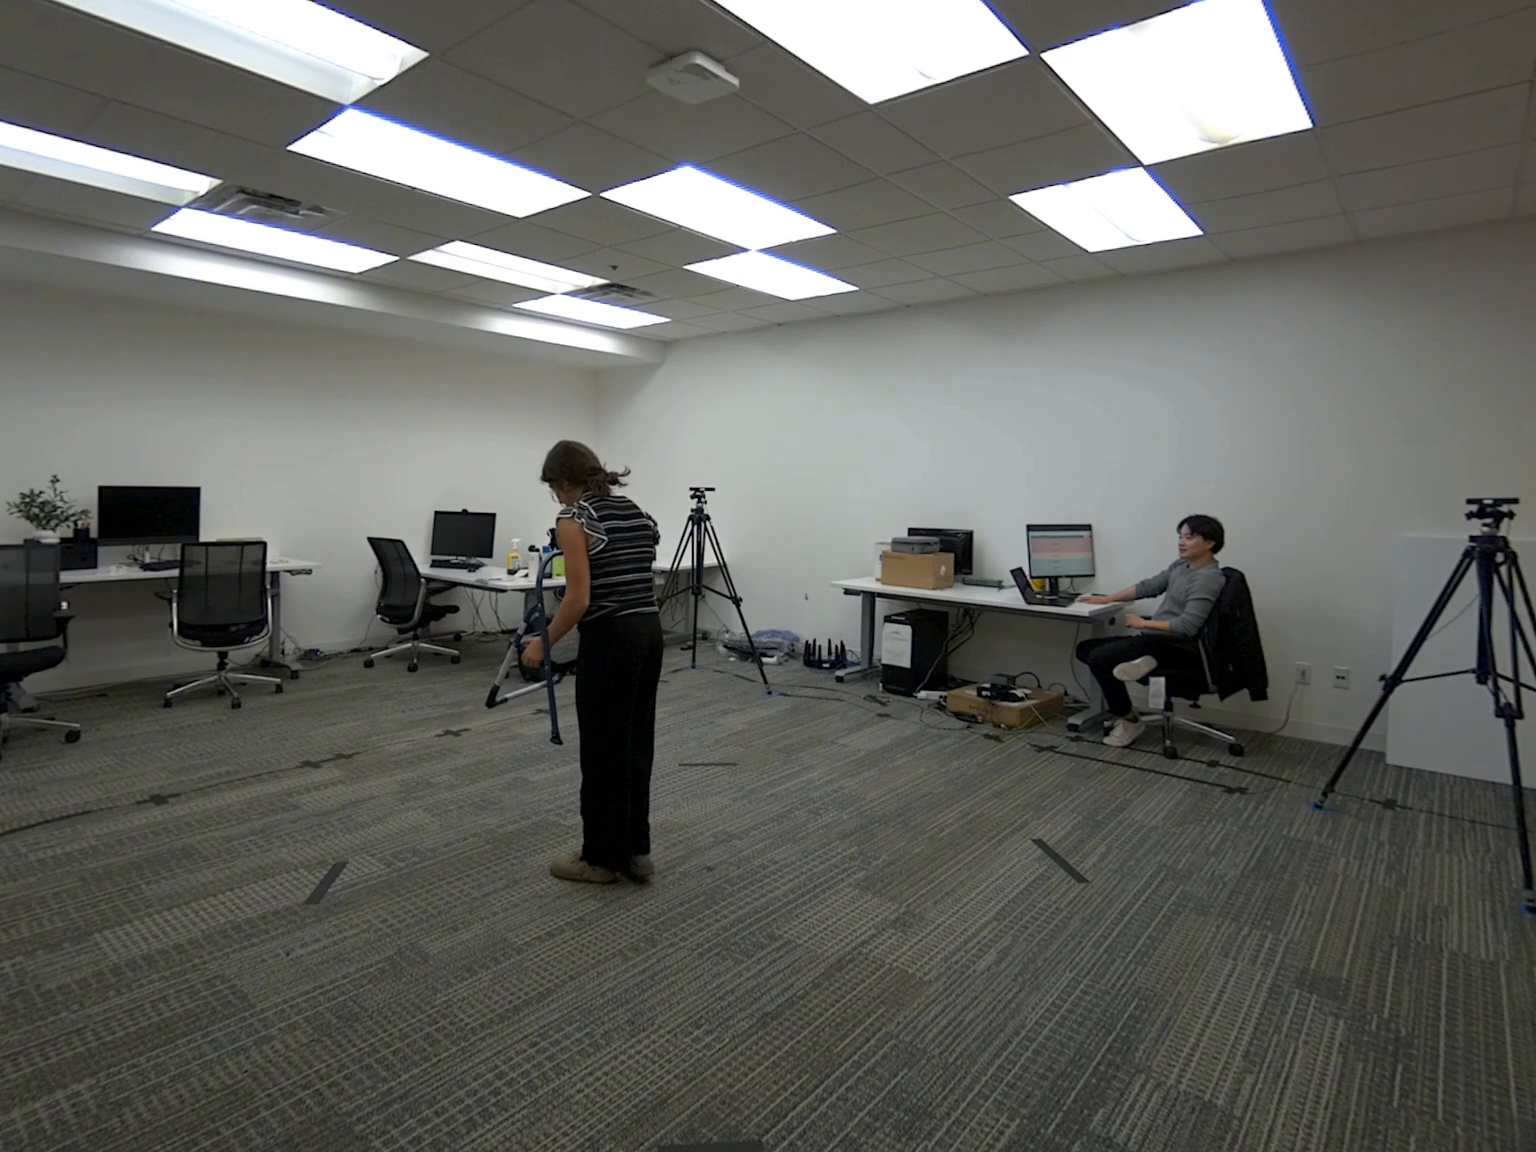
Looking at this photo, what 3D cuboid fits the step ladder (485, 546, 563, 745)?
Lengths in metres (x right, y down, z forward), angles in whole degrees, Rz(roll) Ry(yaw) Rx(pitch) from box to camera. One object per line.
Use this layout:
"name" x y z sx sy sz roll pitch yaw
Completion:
"step ladder" -0.726 0.210 3.100 0.359 0.601 0.422 18 12 21
